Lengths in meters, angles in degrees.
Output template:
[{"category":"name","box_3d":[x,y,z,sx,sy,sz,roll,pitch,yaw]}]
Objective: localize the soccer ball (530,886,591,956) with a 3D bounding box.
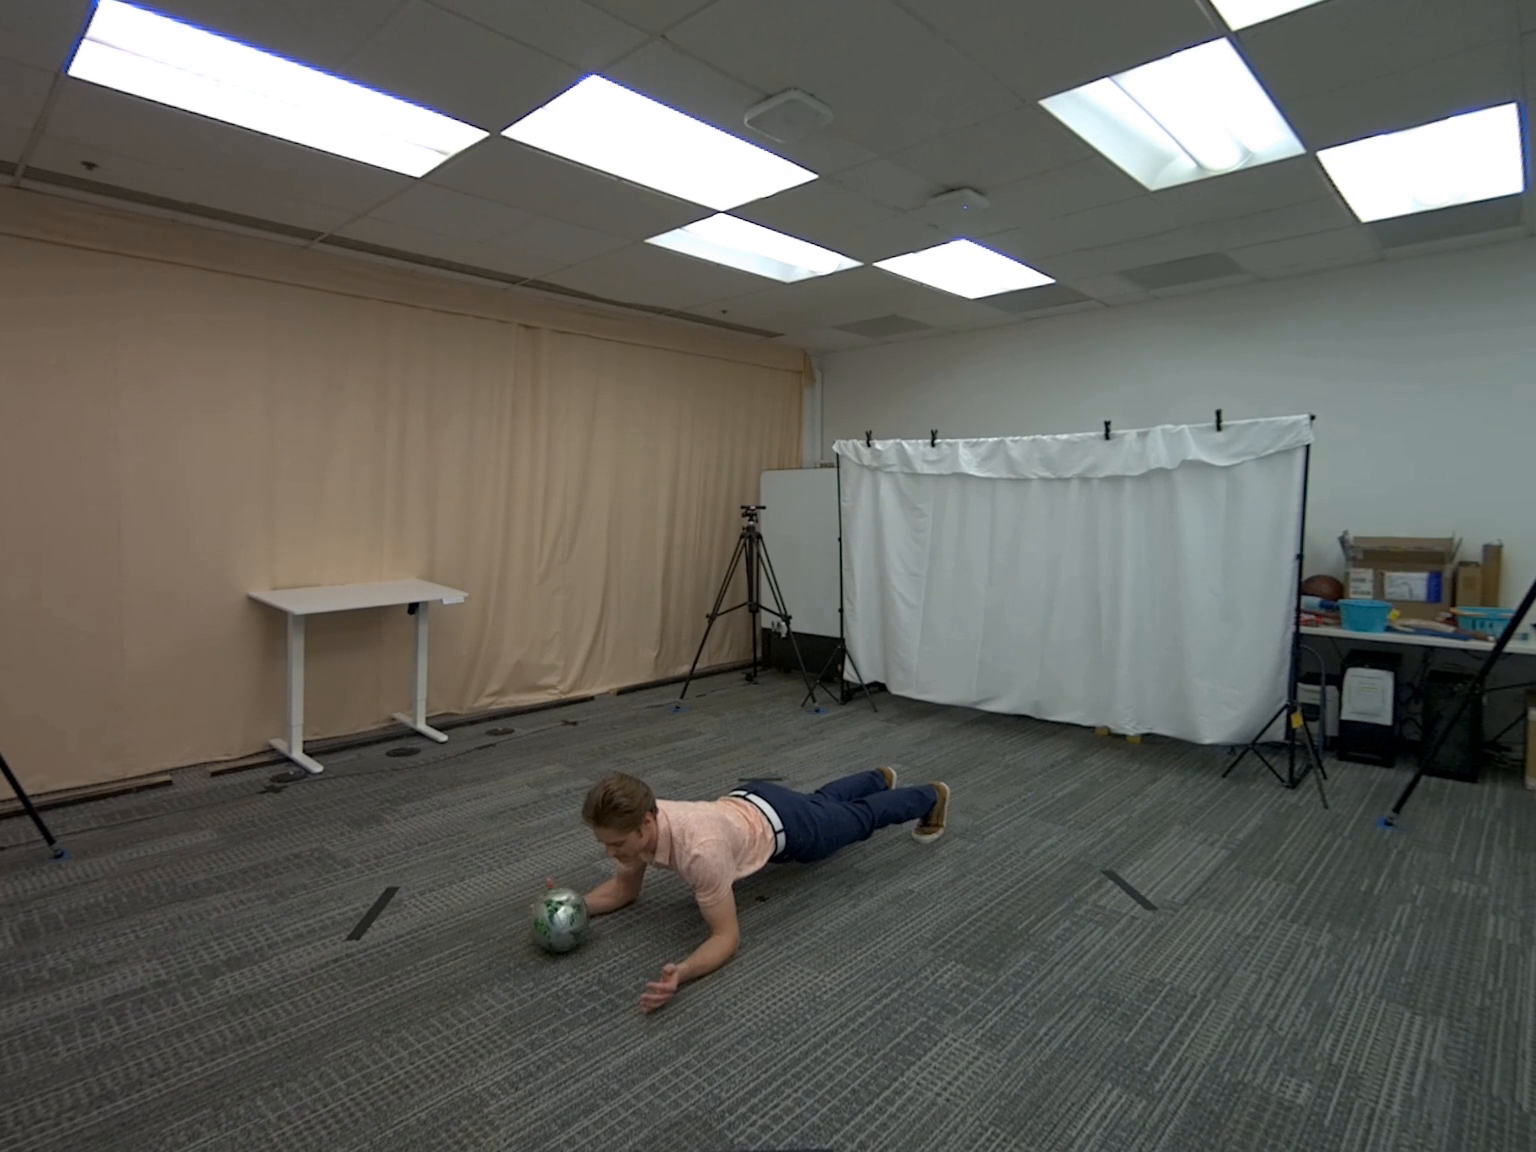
[{"category":"soccer ball","box_3d":[-0.645,1.087,2.649,0.187,0.187,0.188,0,4,-2]}]
